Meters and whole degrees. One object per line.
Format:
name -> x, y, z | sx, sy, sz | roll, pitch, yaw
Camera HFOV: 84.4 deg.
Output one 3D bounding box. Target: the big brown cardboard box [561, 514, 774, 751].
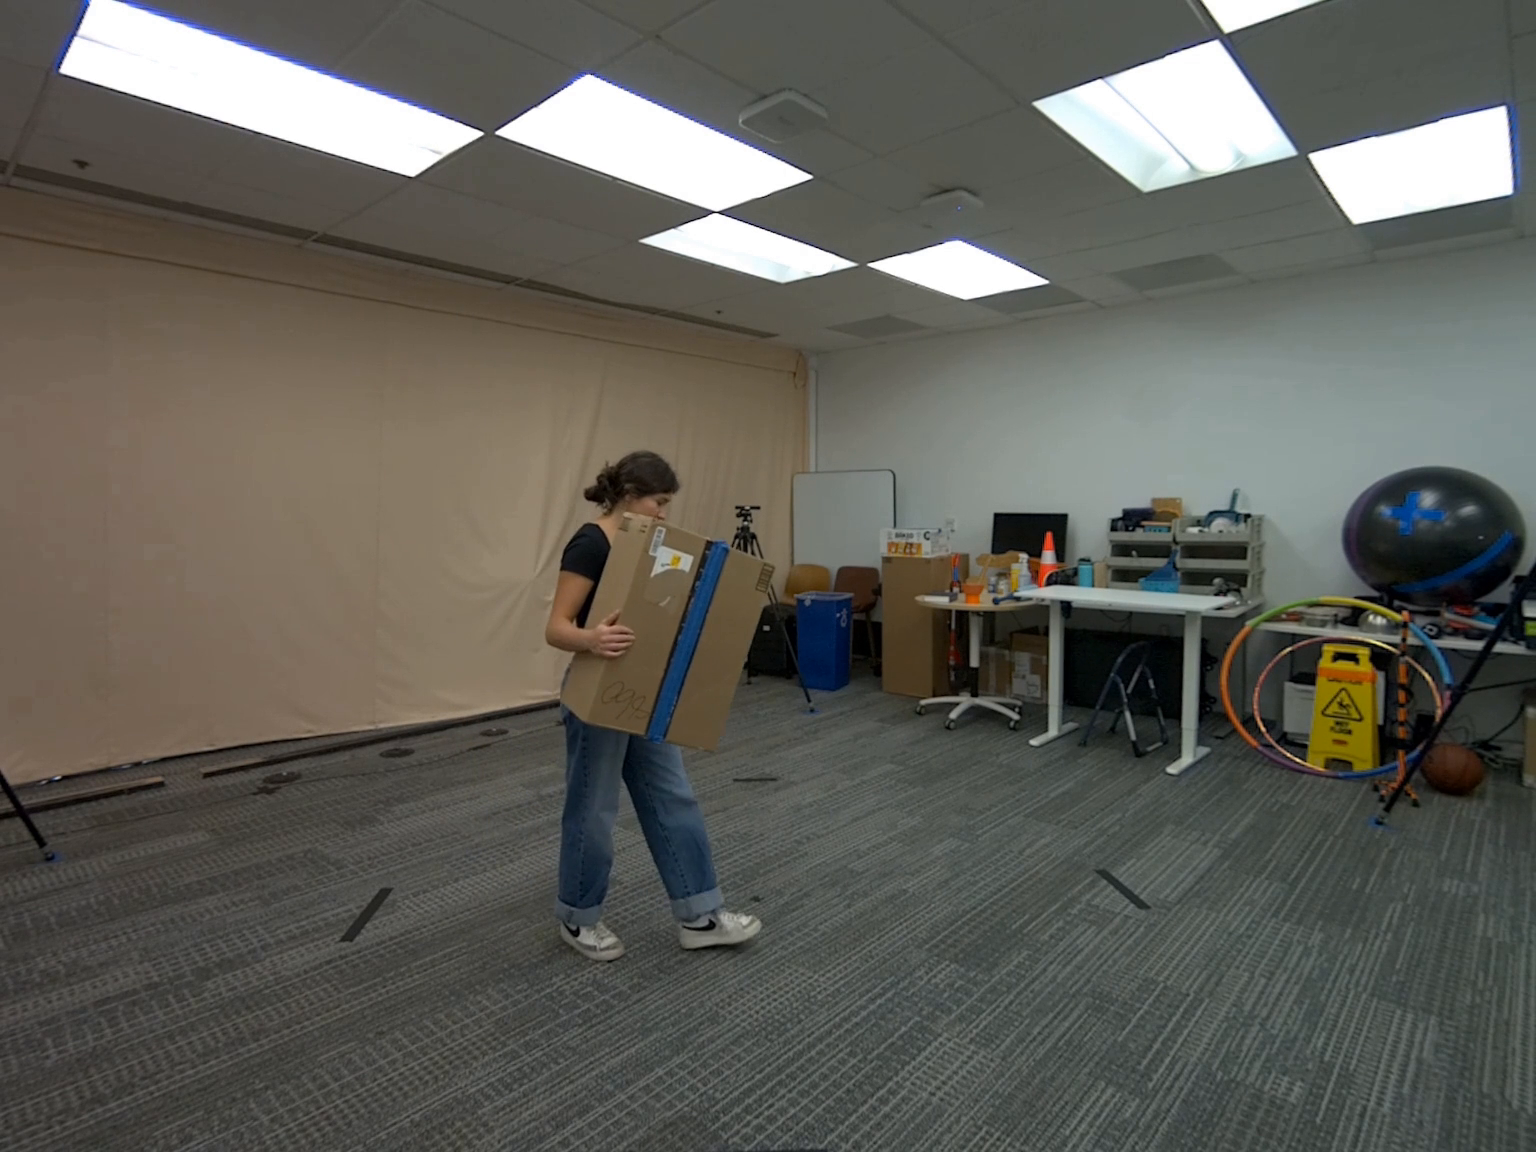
big brown cardboard box -> -0.274, 0.157, 2.383 | 0.405, 0.589, 0.240 | 19, -2, -29
